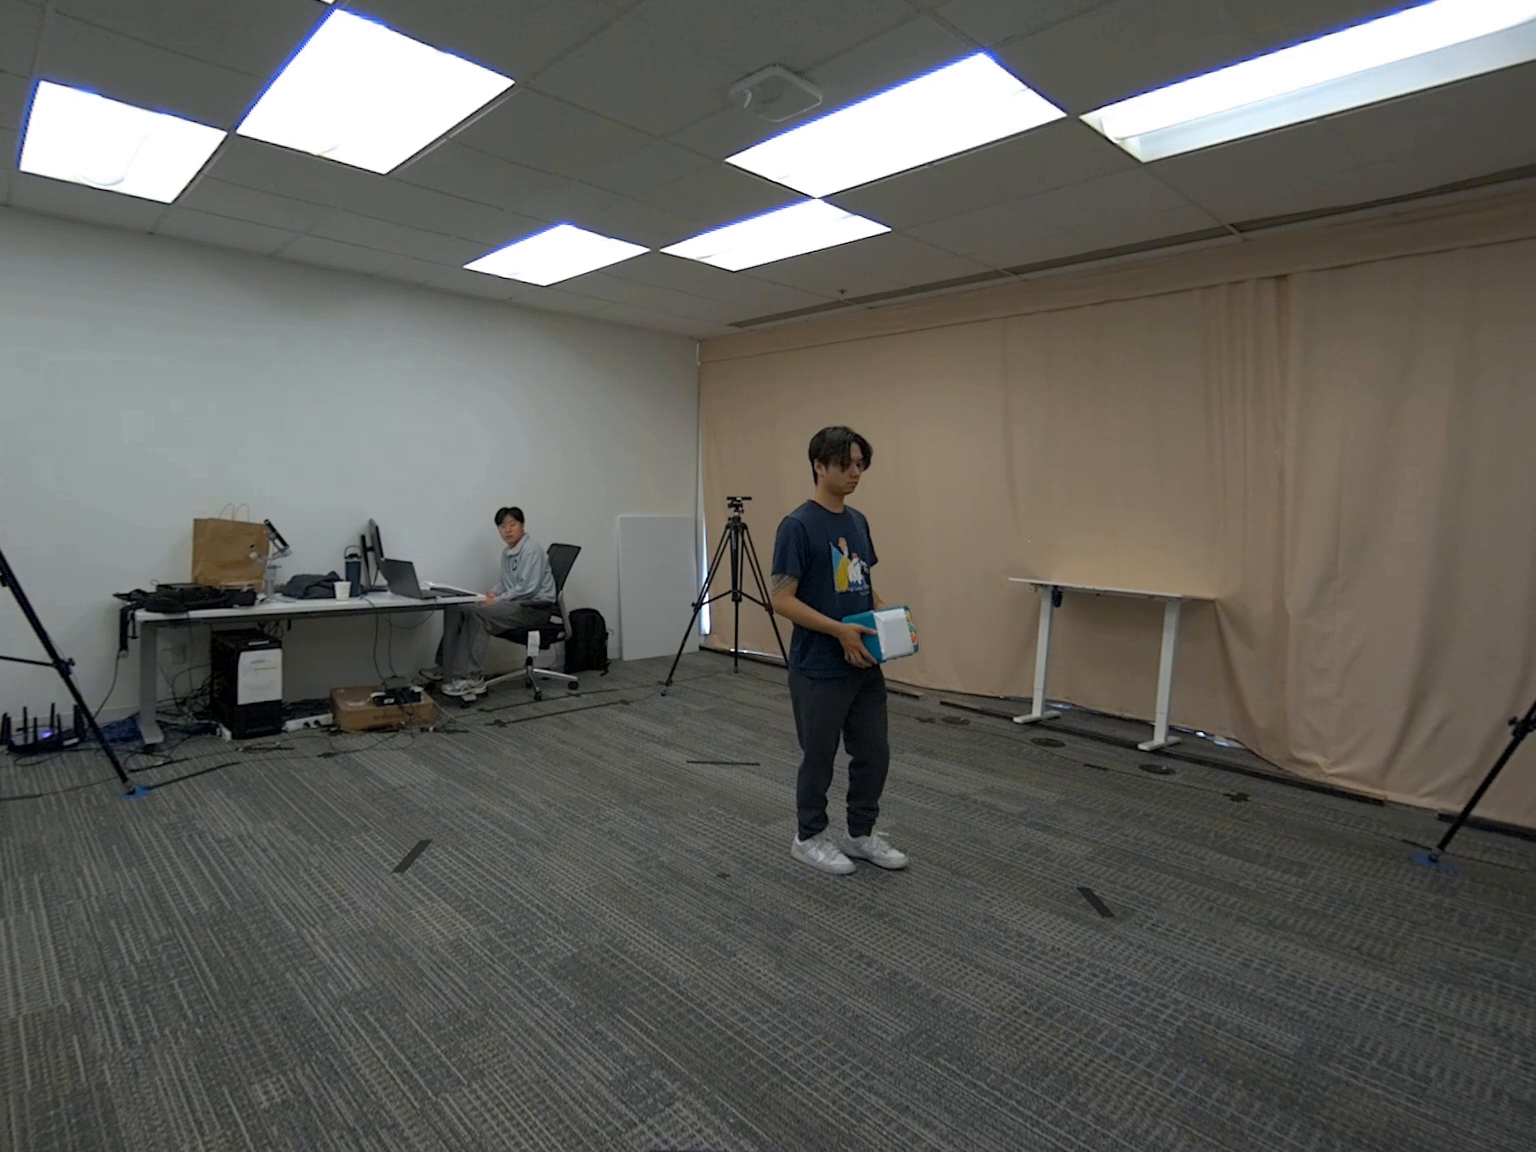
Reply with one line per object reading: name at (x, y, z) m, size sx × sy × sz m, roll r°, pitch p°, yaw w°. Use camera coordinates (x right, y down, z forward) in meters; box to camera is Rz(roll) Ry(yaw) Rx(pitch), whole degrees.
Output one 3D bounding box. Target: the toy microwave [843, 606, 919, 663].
toy microwave at (0.395, 0.210, 3.001) m, size 0.155 × 0.185 × 0.280 m, roll -17°, pitch -8°, yaw 39°
